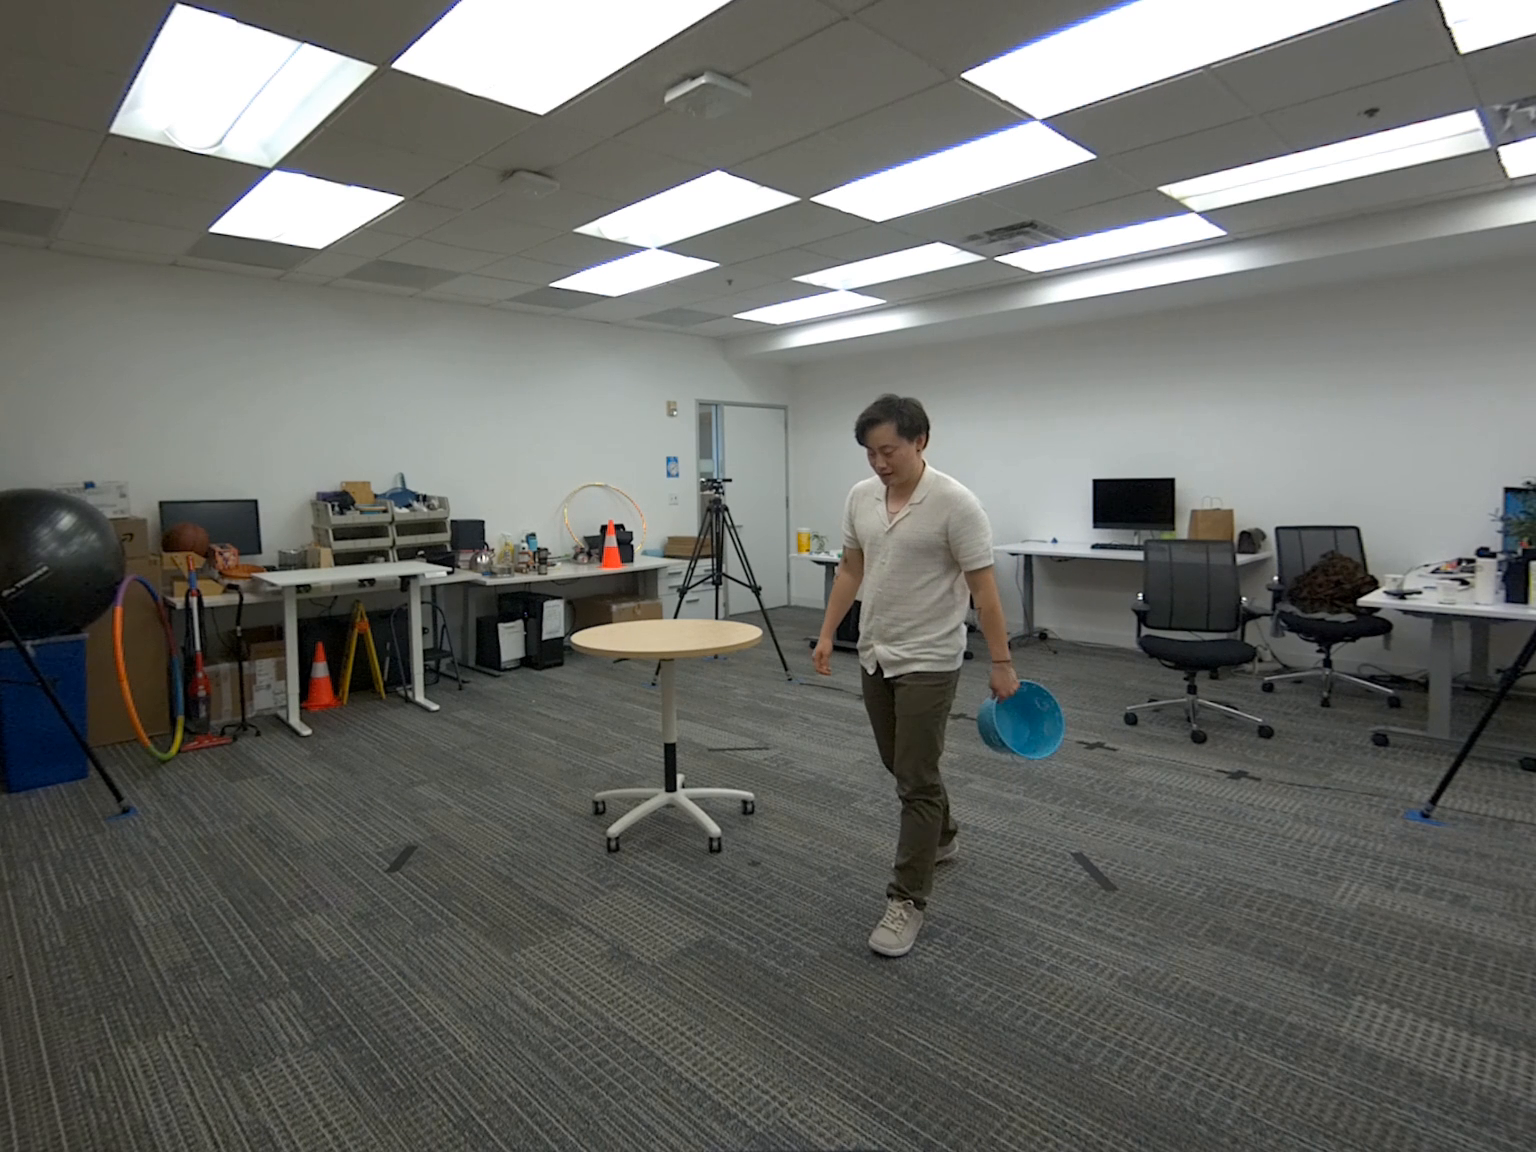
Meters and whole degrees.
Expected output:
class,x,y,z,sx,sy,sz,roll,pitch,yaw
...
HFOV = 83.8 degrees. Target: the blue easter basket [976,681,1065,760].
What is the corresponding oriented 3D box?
class,x,y,z,sx,sy,sz,roll,pitch,yaw
blue easter basket,0.754,0.443,2.615,0.241,0.248,0.155,-2,-19,-13
